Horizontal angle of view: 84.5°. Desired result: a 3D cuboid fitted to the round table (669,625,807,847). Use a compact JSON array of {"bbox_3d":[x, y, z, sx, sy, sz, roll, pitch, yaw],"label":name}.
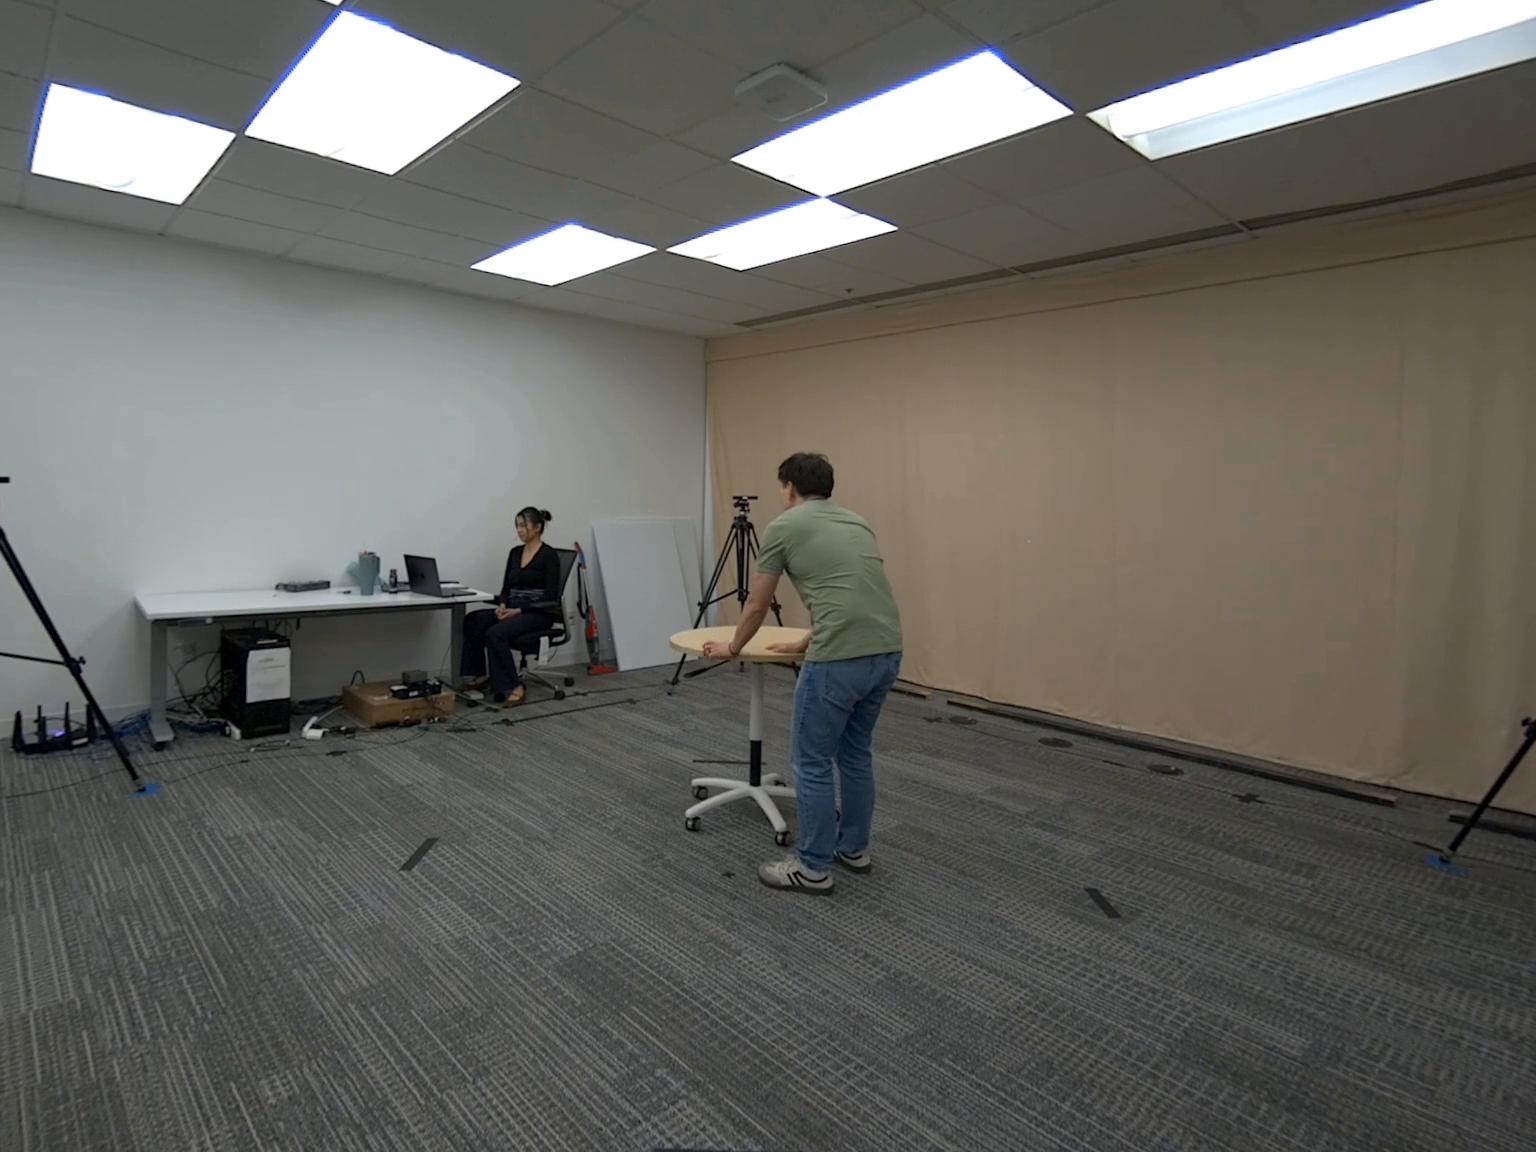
[{"bbox_3d":[-0.061,0.666,3.661,0.763,0.792,0.766,1,4,-1],"label":"round table"}]
